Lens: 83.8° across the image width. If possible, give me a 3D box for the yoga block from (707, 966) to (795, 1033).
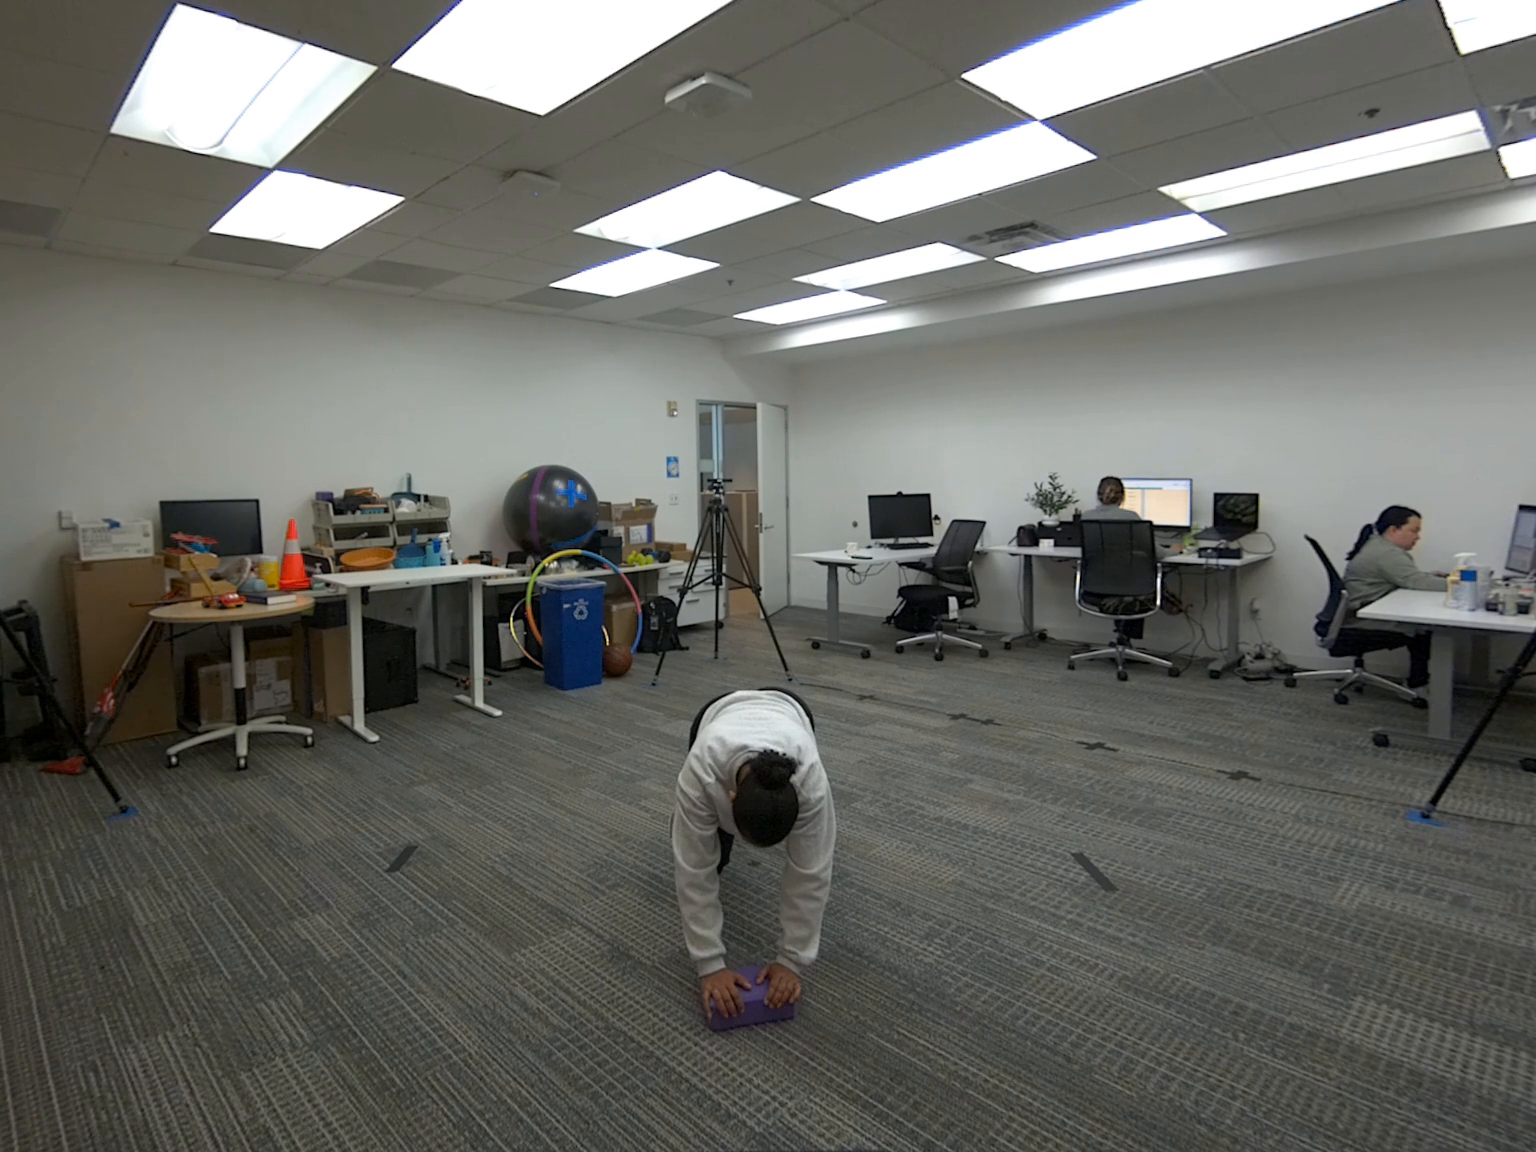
[{"bbox_3d":[-0.035,1.119,2.250,0.227,0.076,0.152,-3,10,-12],"label":"yoga block"}]
